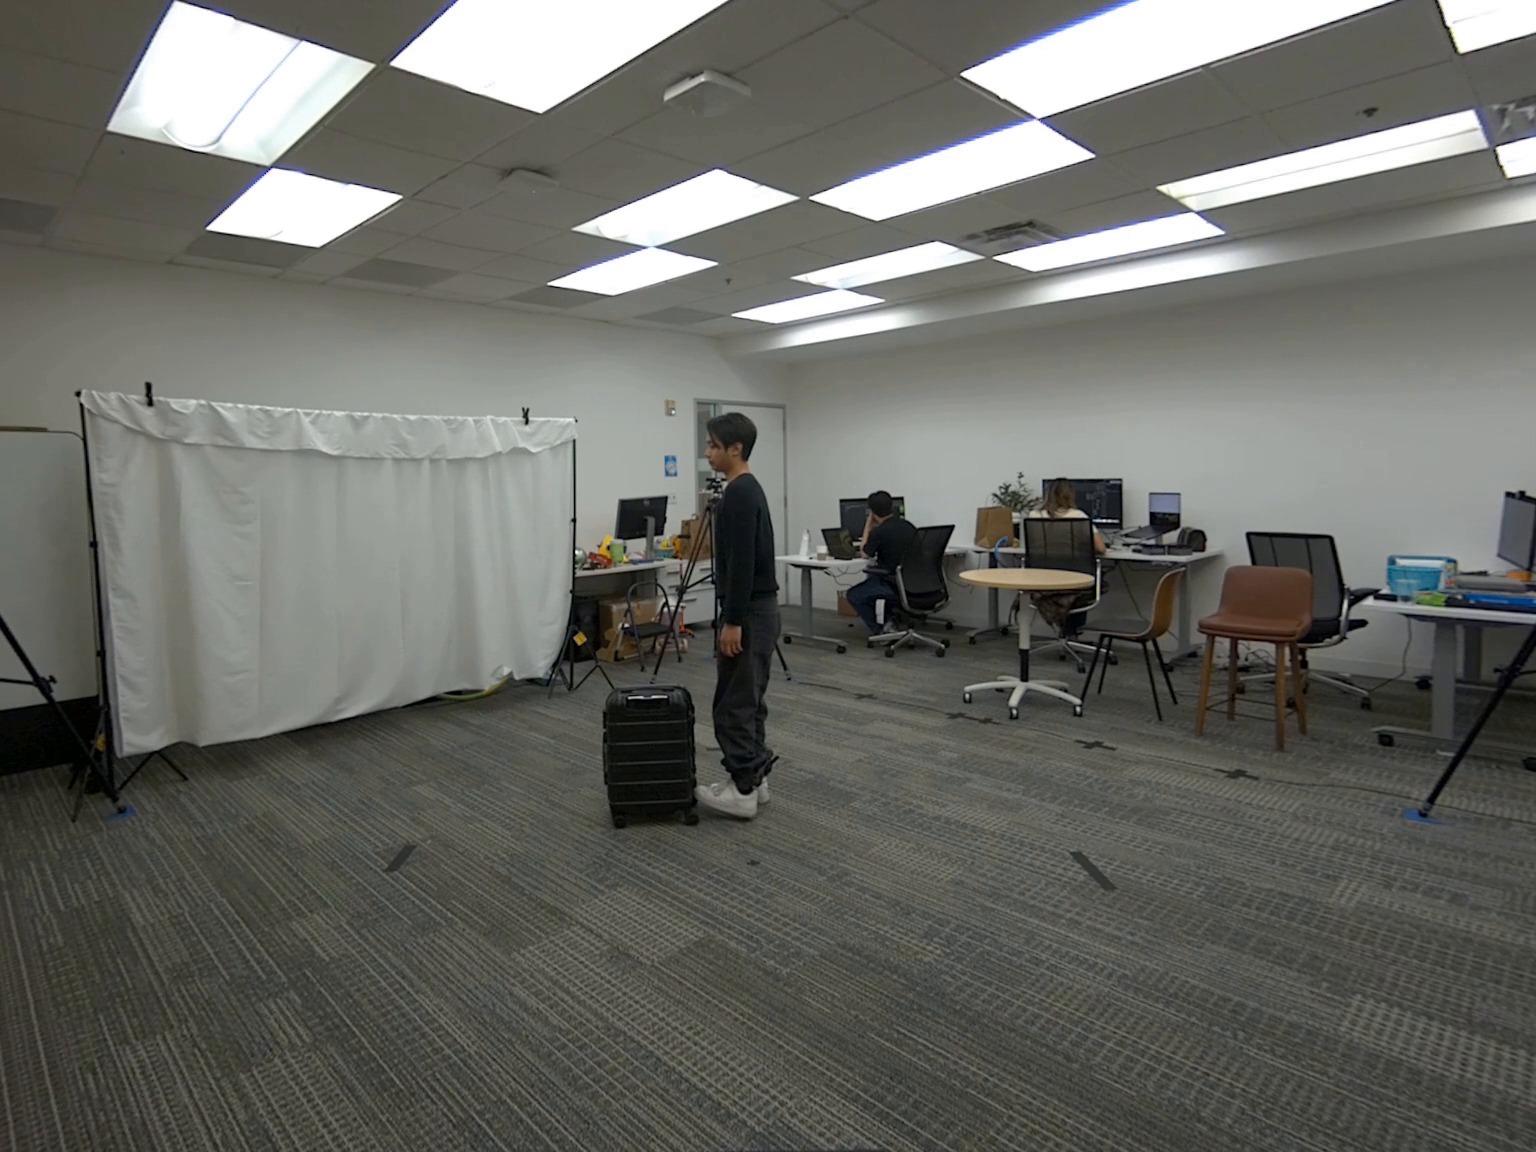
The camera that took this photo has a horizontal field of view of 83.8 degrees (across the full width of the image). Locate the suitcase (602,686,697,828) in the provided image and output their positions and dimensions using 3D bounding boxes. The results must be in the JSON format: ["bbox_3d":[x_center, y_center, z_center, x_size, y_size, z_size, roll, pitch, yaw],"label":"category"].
[{"bbox_3d":[-0.499,0.726,3.549,0.374,0.547,0.250,-3,4,-4],"label":"suitcase"}]
